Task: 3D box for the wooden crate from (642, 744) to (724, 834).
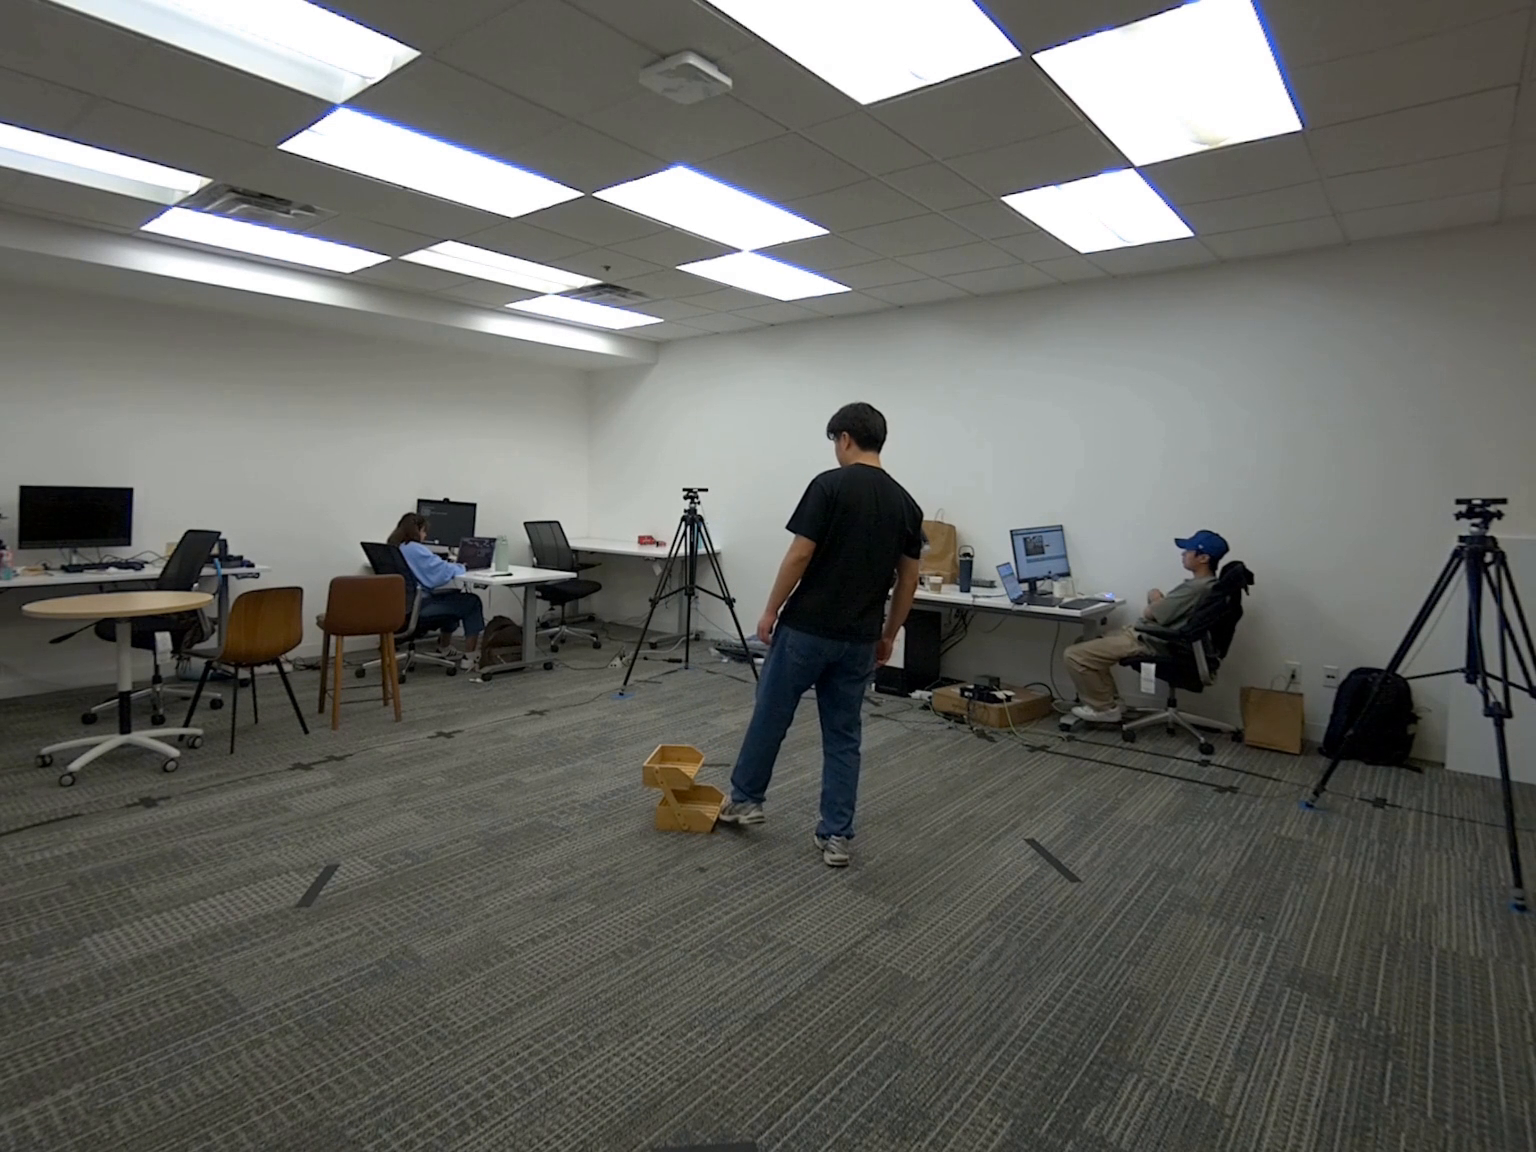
[{"bbox_3d":[-0.351,0.884,3.603,0.305,0.272,0.322,1,4,8],"label":"wooden crate"}]
